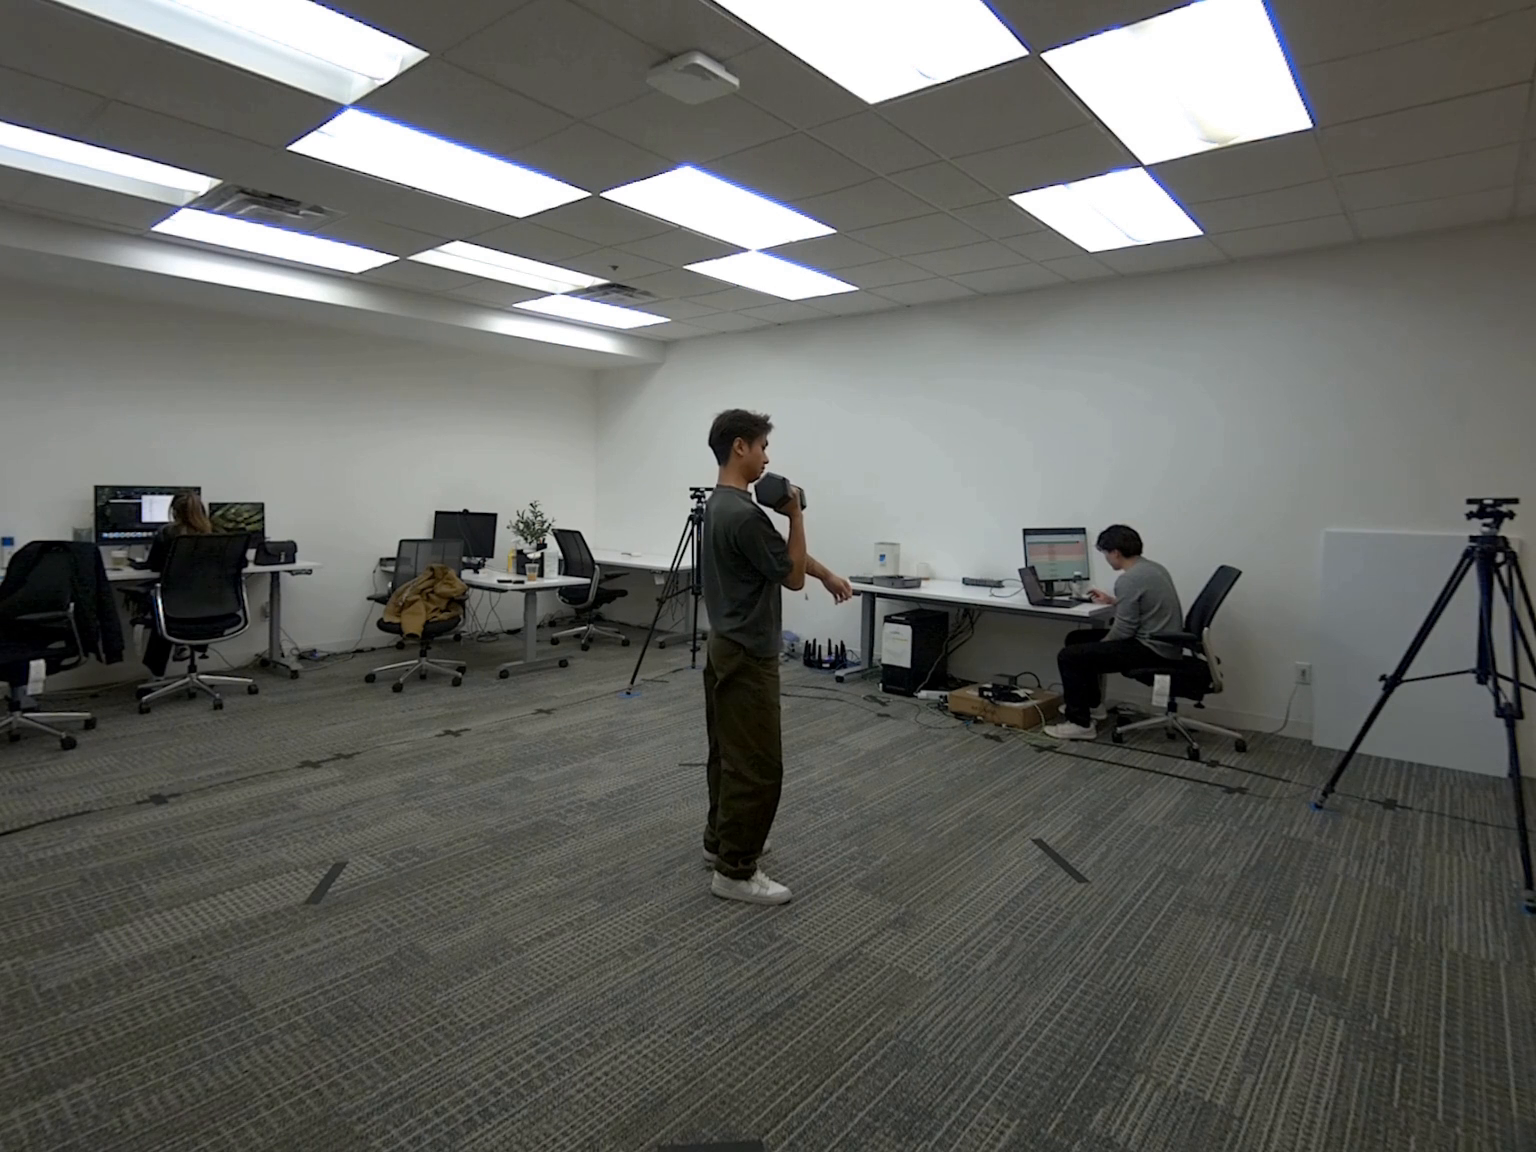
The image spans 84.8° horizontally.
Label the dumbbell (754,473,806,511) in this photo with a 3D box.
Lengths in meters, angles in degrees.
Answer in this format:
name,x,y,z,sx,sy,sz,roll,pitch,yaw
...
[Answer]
name,x,y,z,sx,sy,sz,roll,pitch,yaw
dumbbell,0.047,-0.273,2.851,0.126,0.109,0.287,19,1,15
